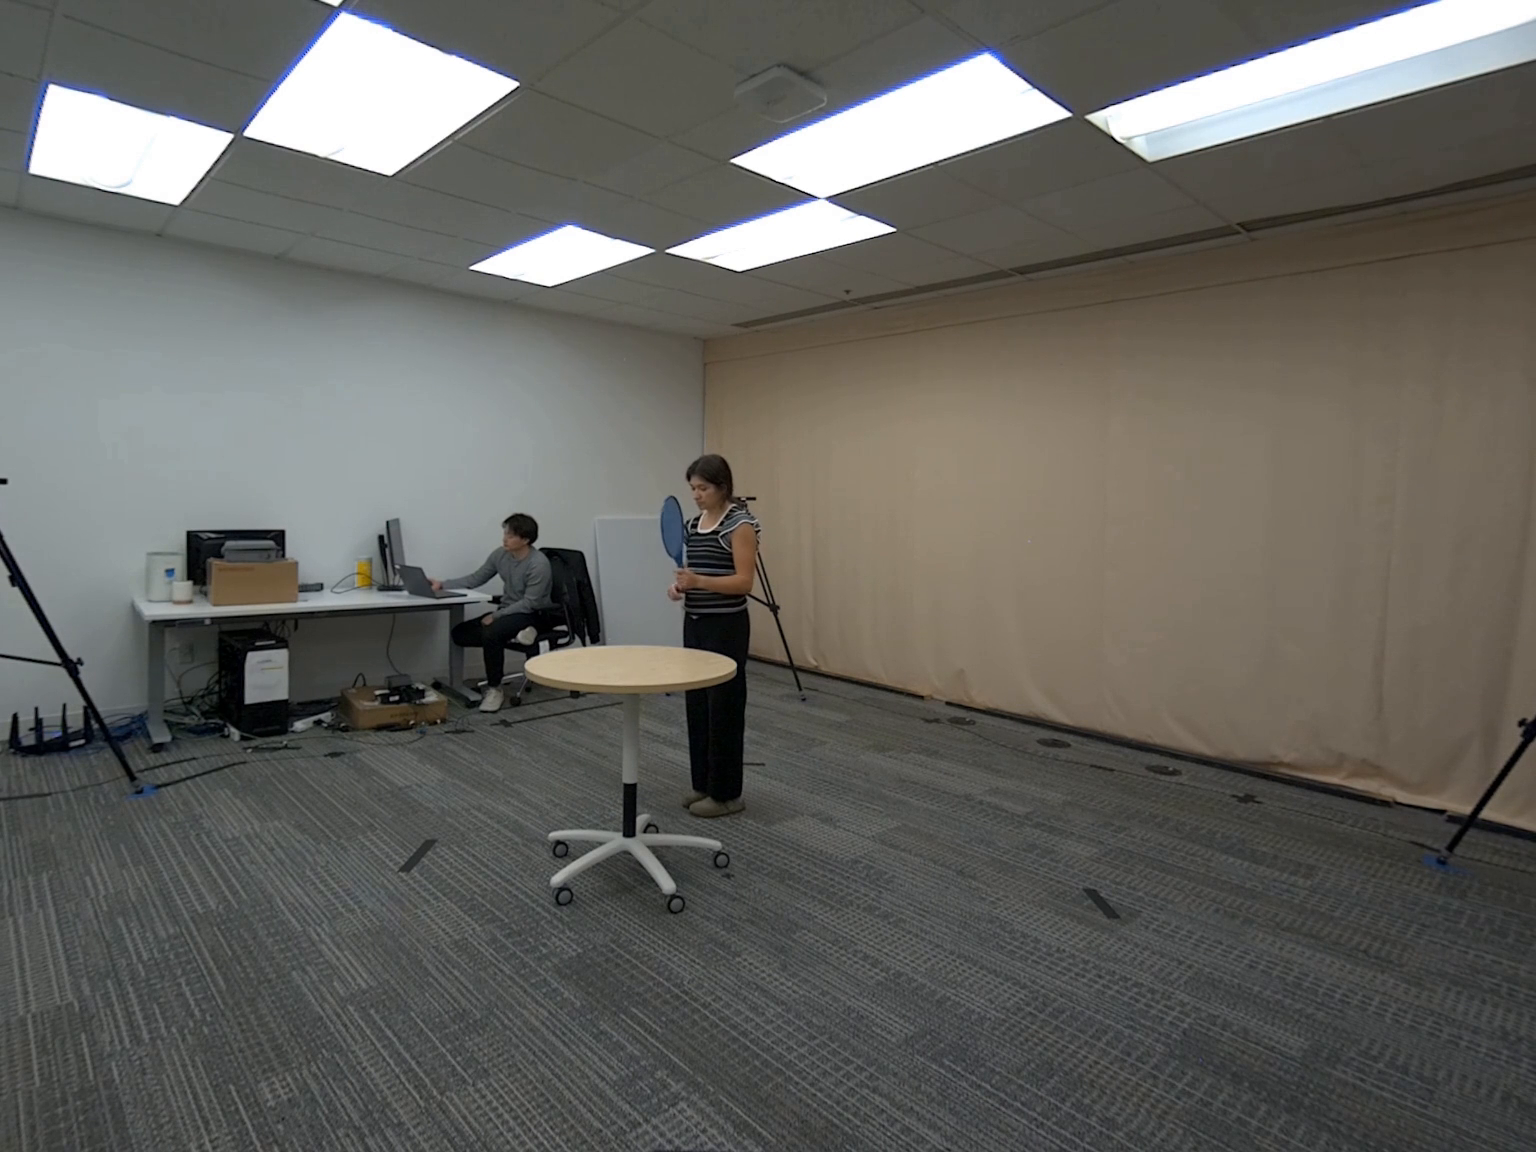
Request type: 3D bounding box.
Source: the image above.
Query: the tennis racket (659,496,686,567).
[{"bbox_3d":[-0.383,-0.133,3.476,0.032,0.423,0.216,2,35,17],"label":"tennis racket"}]
